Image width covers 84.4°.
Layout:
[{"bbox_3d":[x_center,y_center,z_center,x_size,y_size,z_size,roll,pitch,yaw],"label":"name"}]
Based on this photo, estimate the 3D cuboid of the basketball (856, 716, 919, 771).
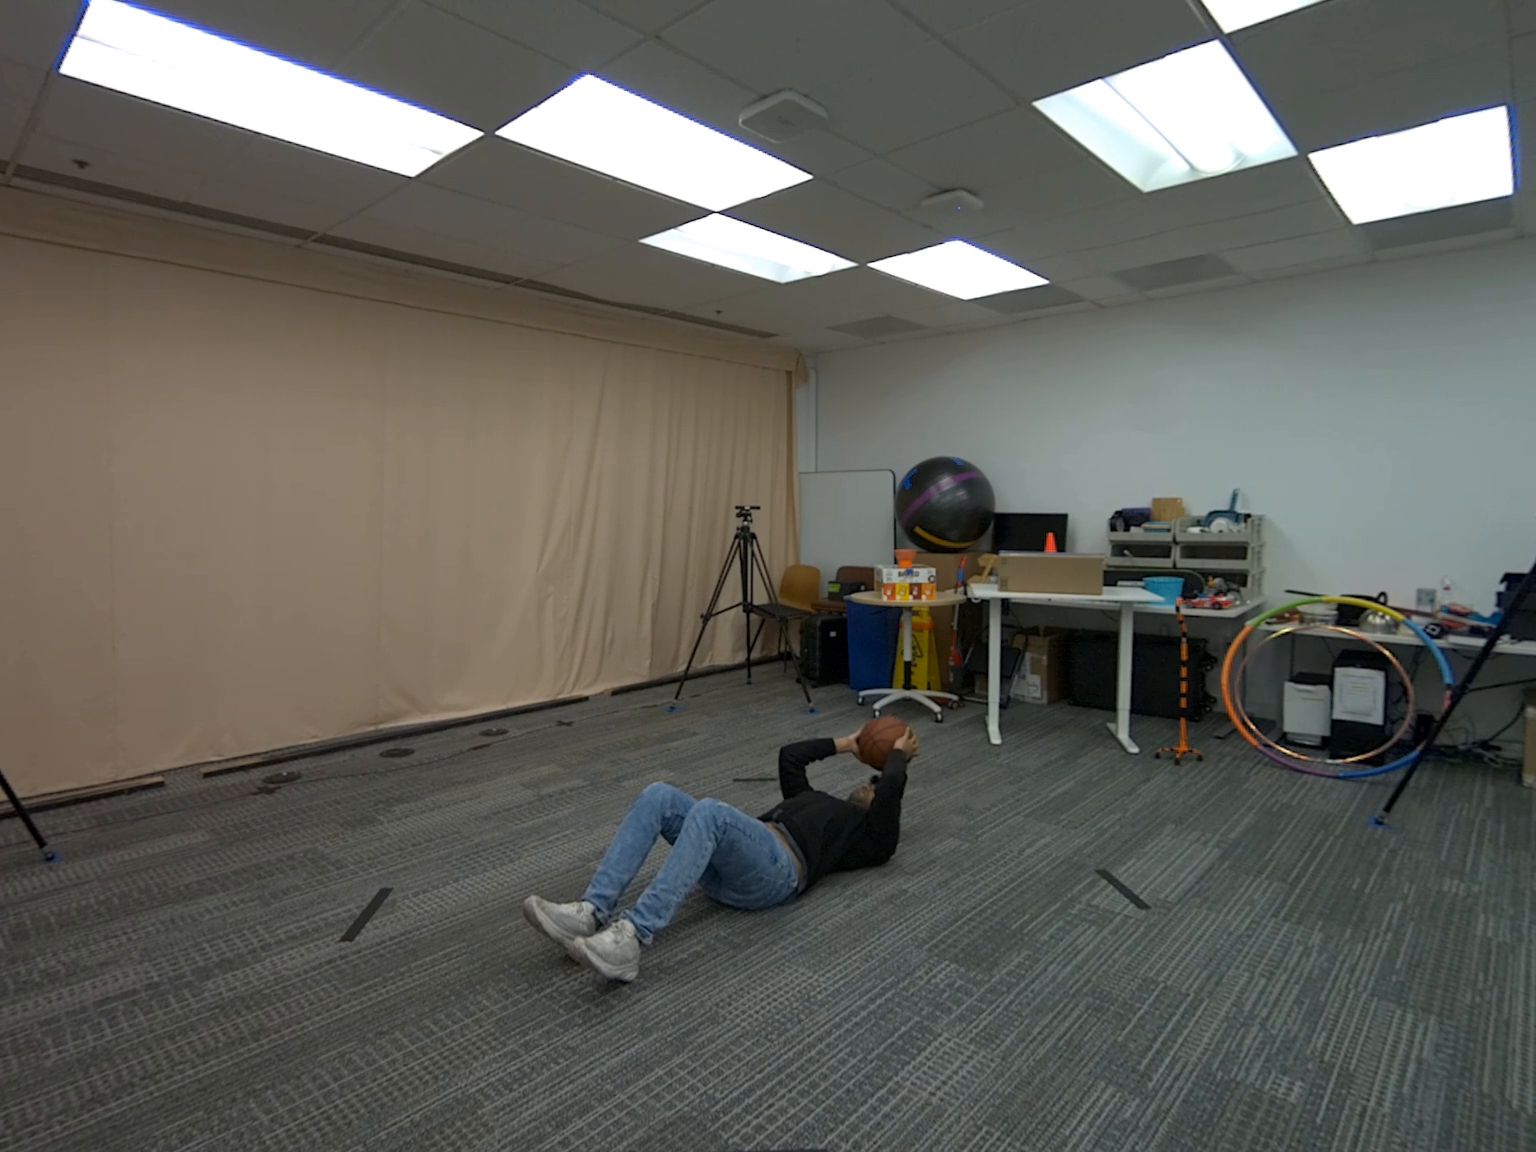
[{"bbox_3d":[0.505,0.718,3.595,0.236,0.235,0.237,0,4,-2],"label":"basketball"}]
